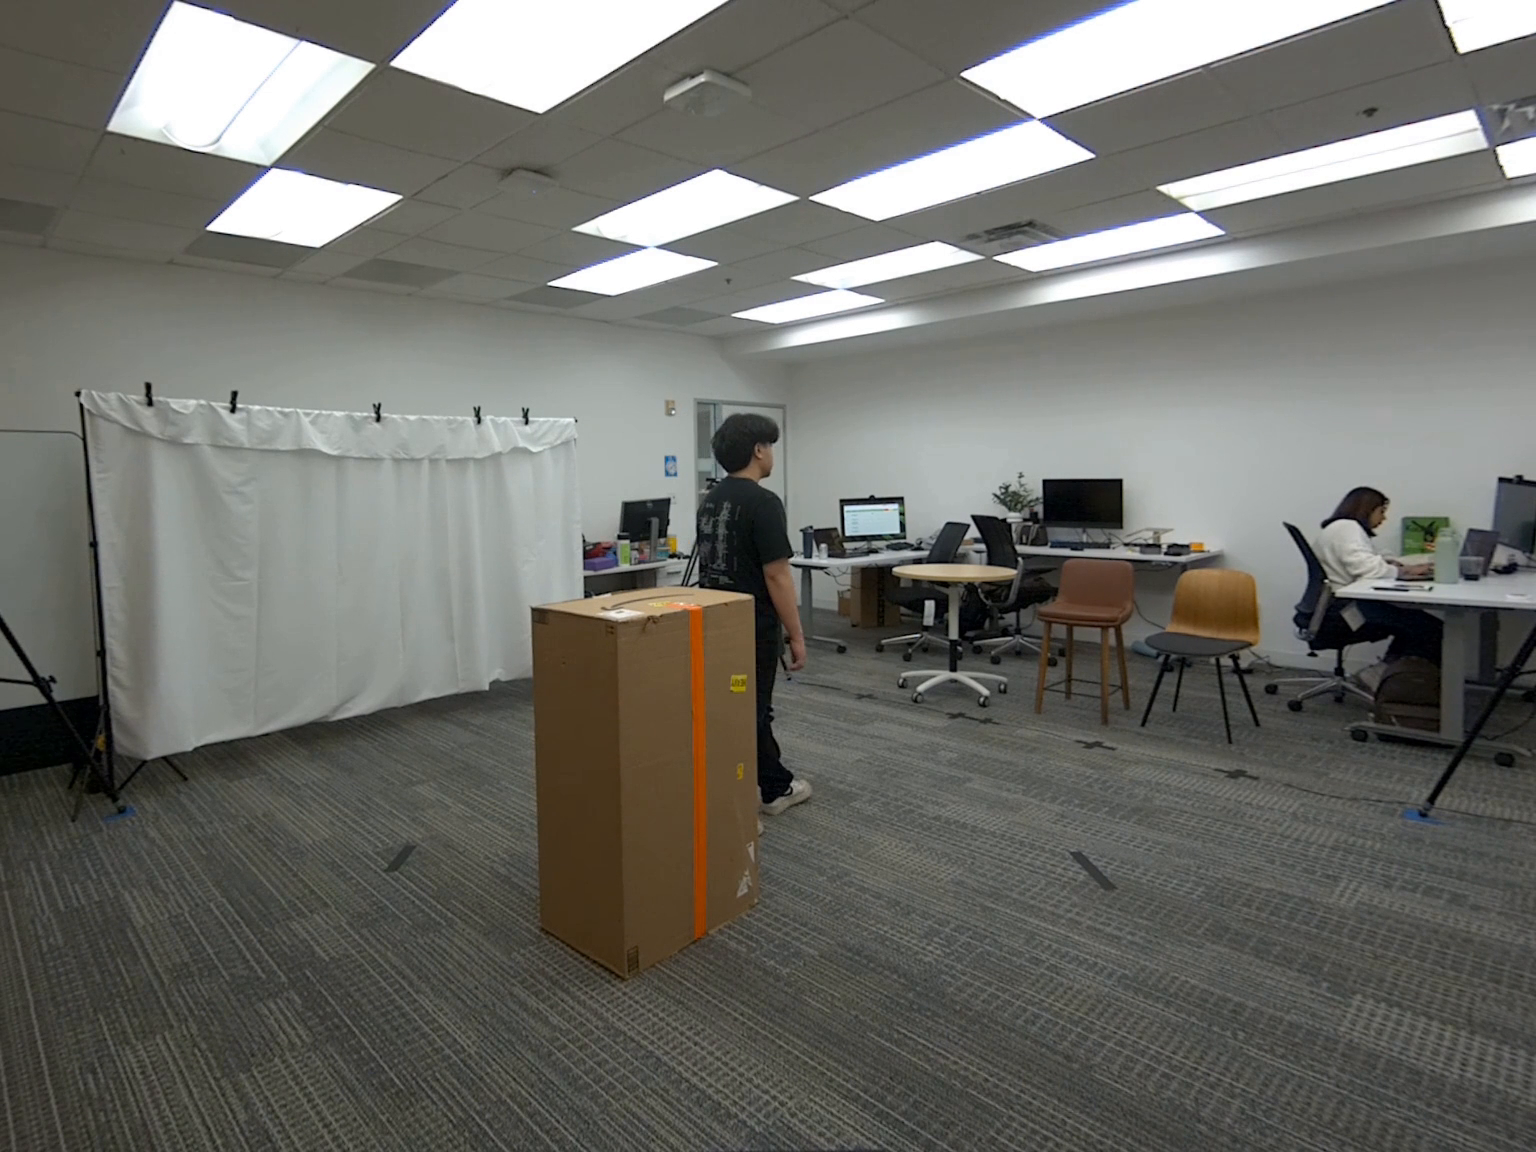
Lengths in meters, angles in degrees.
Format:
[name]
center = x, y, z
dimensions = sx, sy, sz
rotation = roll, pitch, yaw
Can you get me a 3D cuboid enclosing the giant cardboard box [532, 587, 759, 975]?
[giant cardboard box]
center = -0.380, 0.585, 2.708
dimensions = 0.461, 1.023, 0.569
rotation = 4, 7, 43
